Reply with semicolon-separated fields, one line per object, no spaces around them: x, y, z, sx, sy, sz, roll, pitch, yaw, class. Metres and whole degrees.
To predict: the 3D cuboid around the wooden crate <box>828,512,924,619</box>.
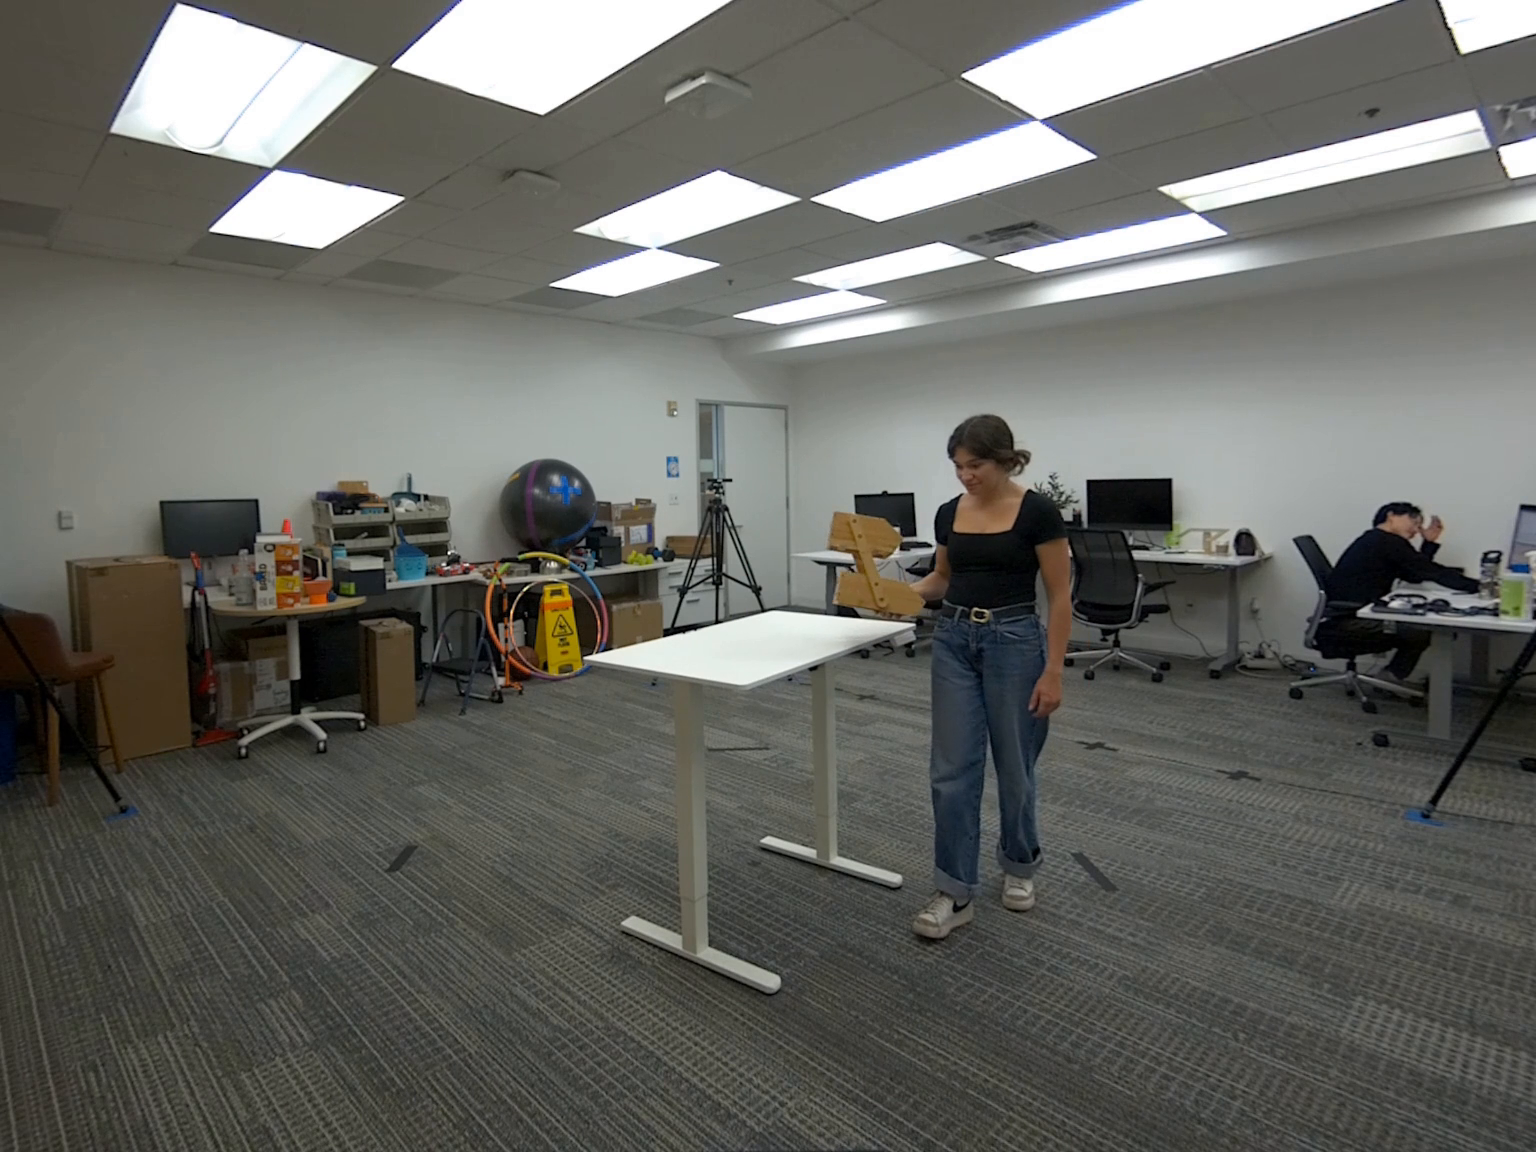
0.341;-0.030;2.605;0.304;0.274;0.321;10;-4;4;wooden crate
